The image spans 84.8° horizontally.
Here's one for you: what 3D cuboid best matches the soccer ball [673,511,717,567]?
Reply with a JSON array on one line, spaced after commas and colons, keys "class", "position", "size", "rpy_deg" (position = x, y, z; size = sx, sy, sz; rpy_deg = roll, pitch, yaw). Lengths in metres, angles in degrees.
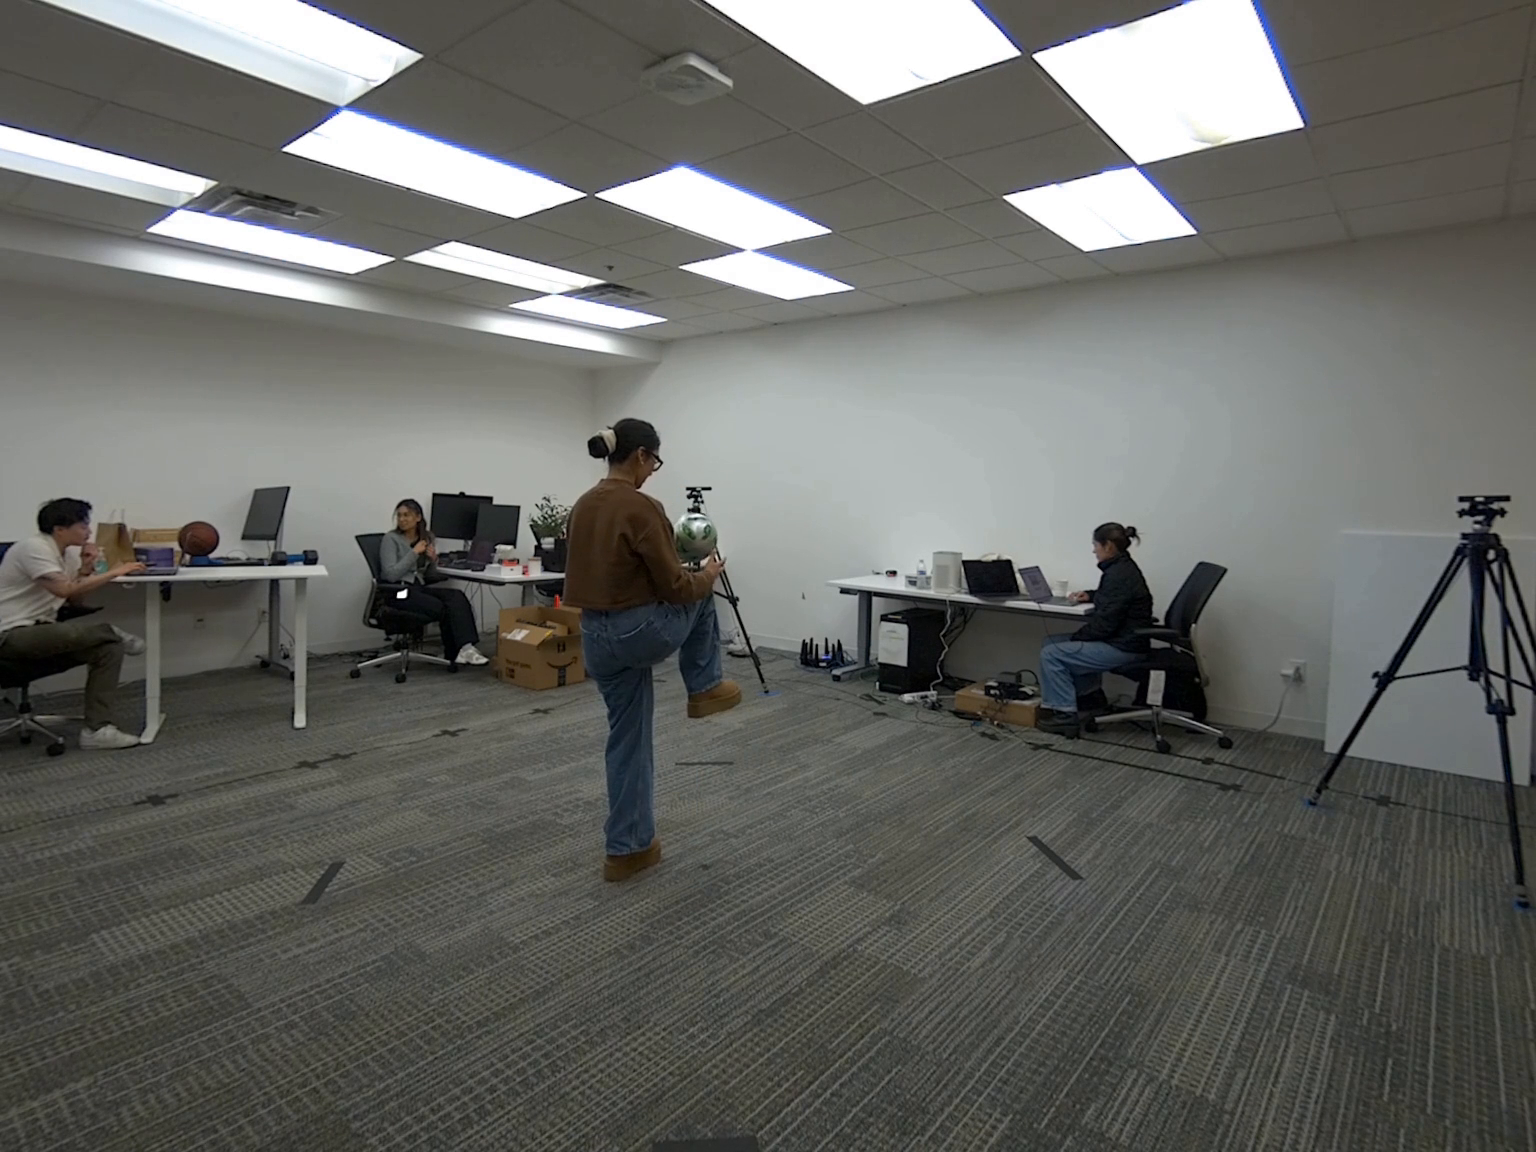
[{"class": "soccer ball", "position": [-0.295, -0.130, 3.244], "size": [0.187, 0.187, 0.188], "rpy_deg": [1, 4, -2]}]
